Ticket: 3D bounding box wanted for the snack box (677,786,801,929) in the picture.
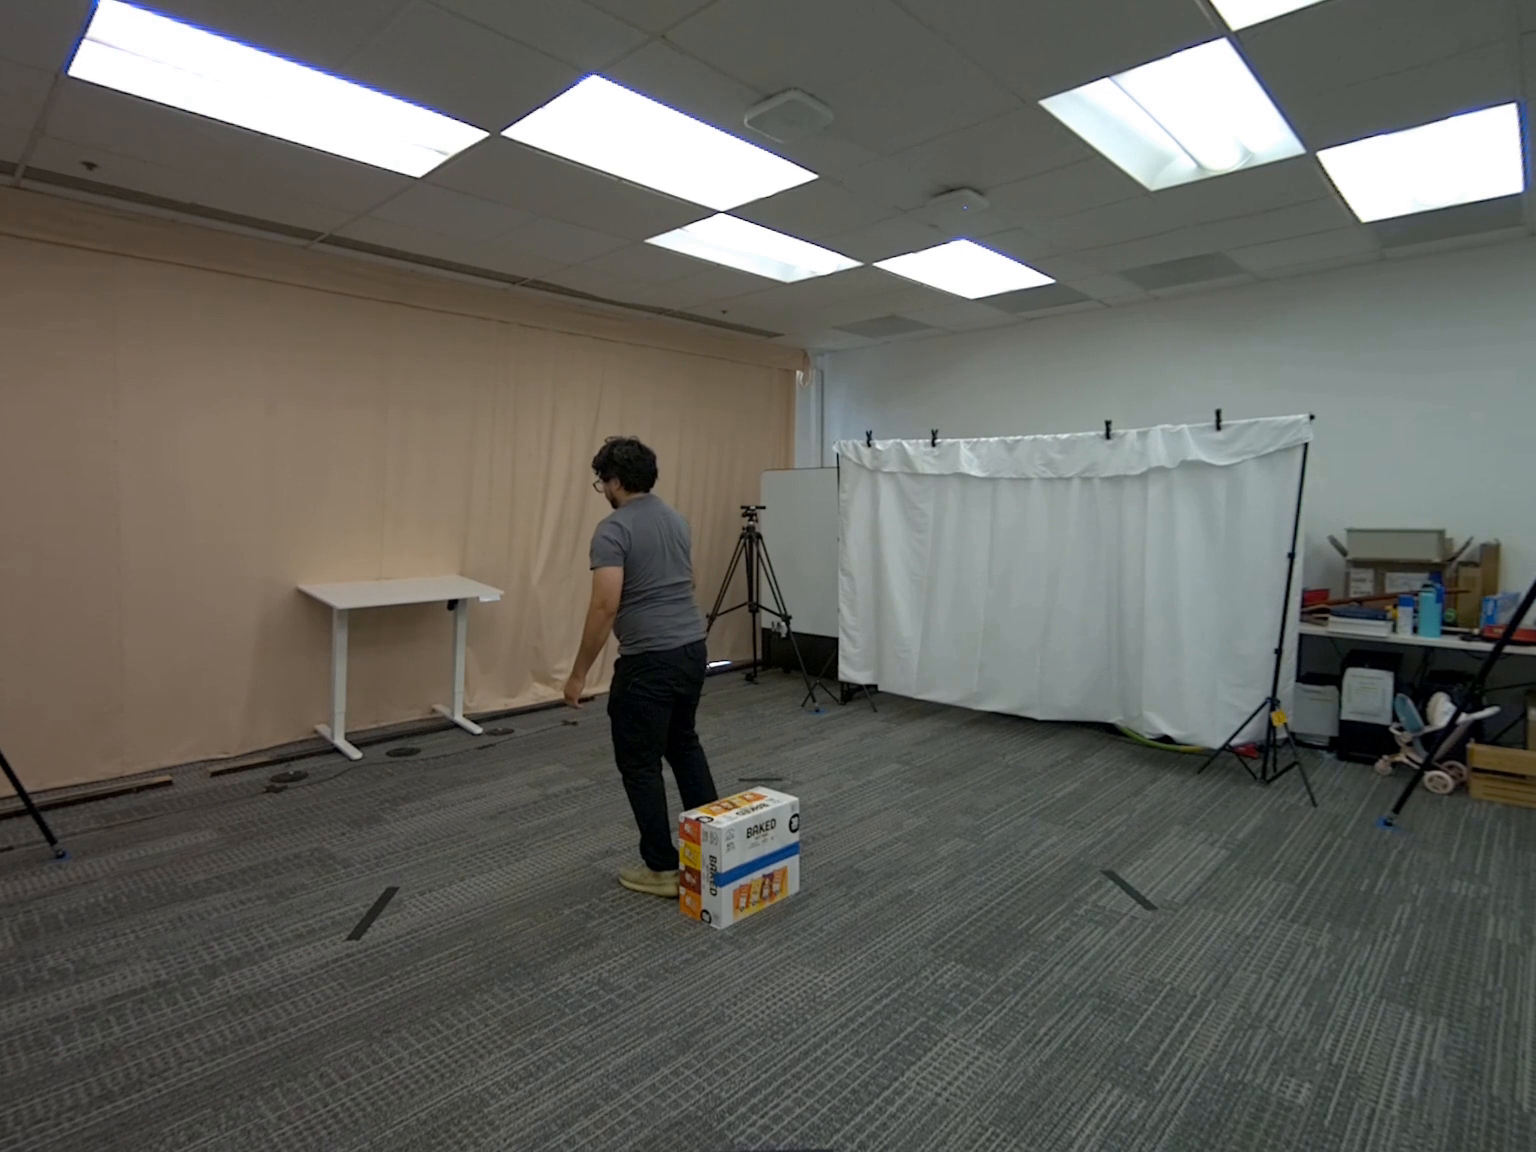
[{"bbox_3d":[-0.091,0.977,2.962,0.212,0.340,0.393,3,4,44],"label":"snack box"}]
